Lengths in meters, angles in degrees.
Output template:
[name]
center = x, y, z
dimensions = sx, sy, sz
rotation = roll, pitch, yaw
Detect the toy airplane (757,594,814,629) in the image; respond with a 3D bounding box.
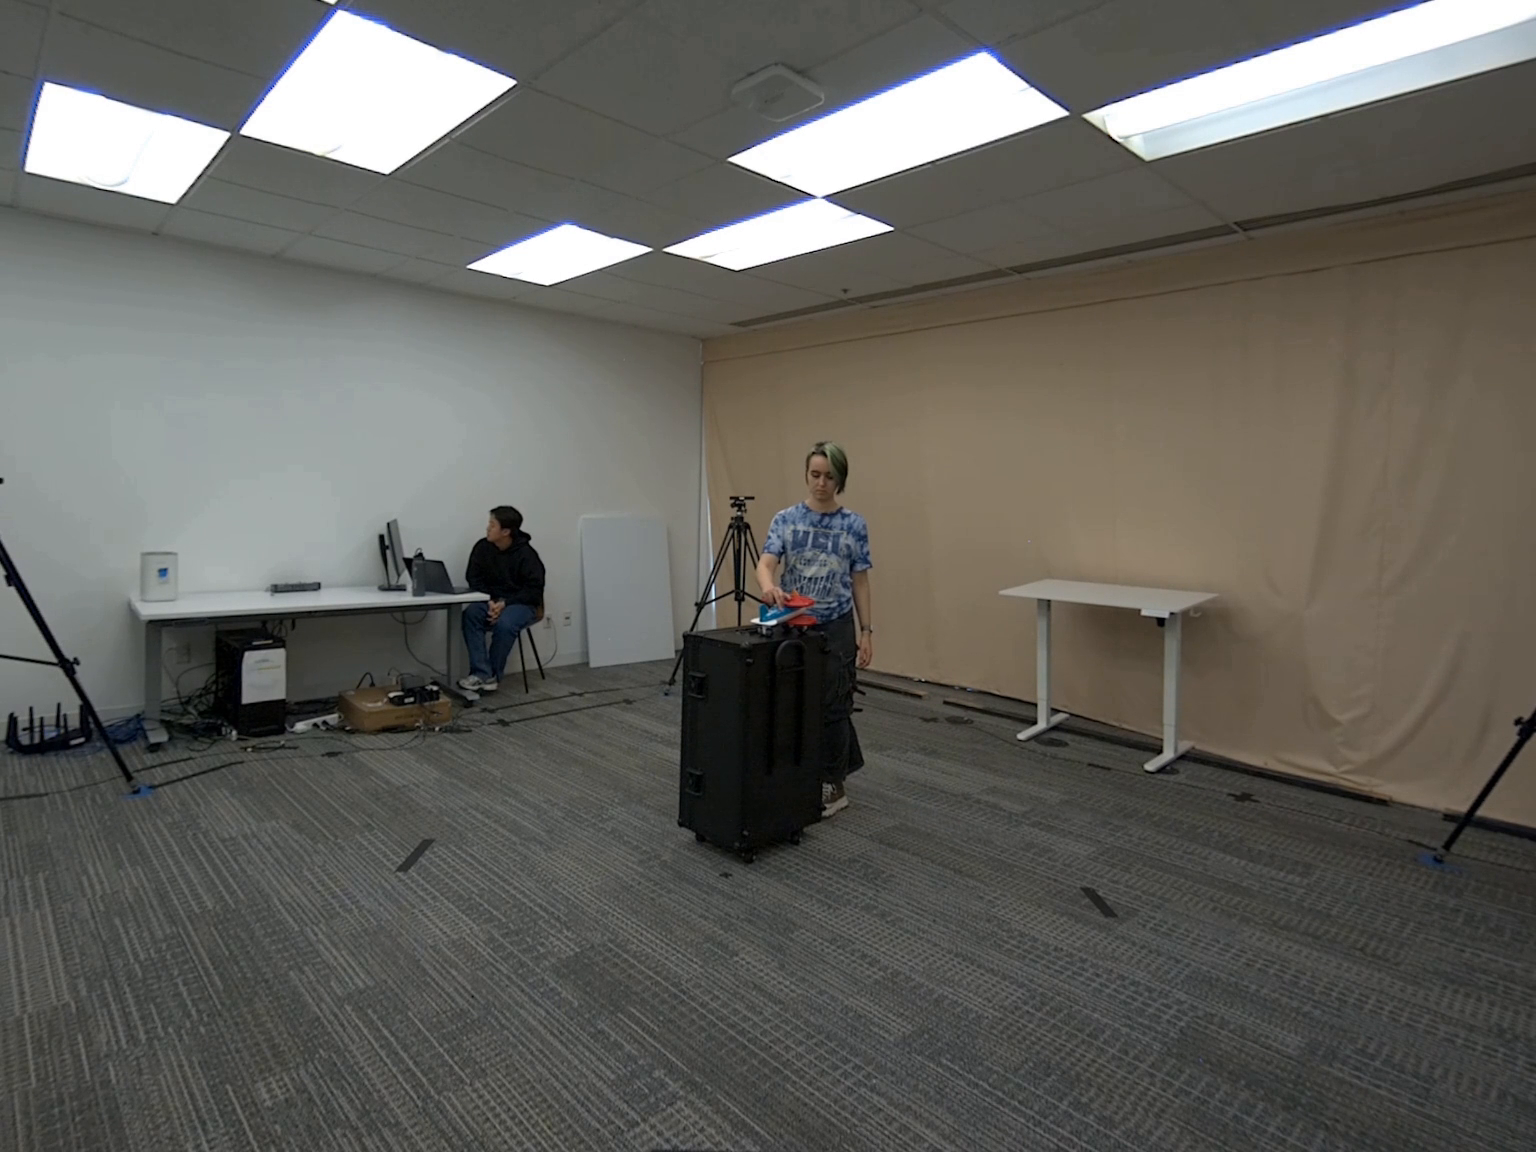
[toy airplane]
center = 0.068, 0.160, 3.376
dimensions = 0.254, 0.156, 0.256
rotation = 5, 4, 15
